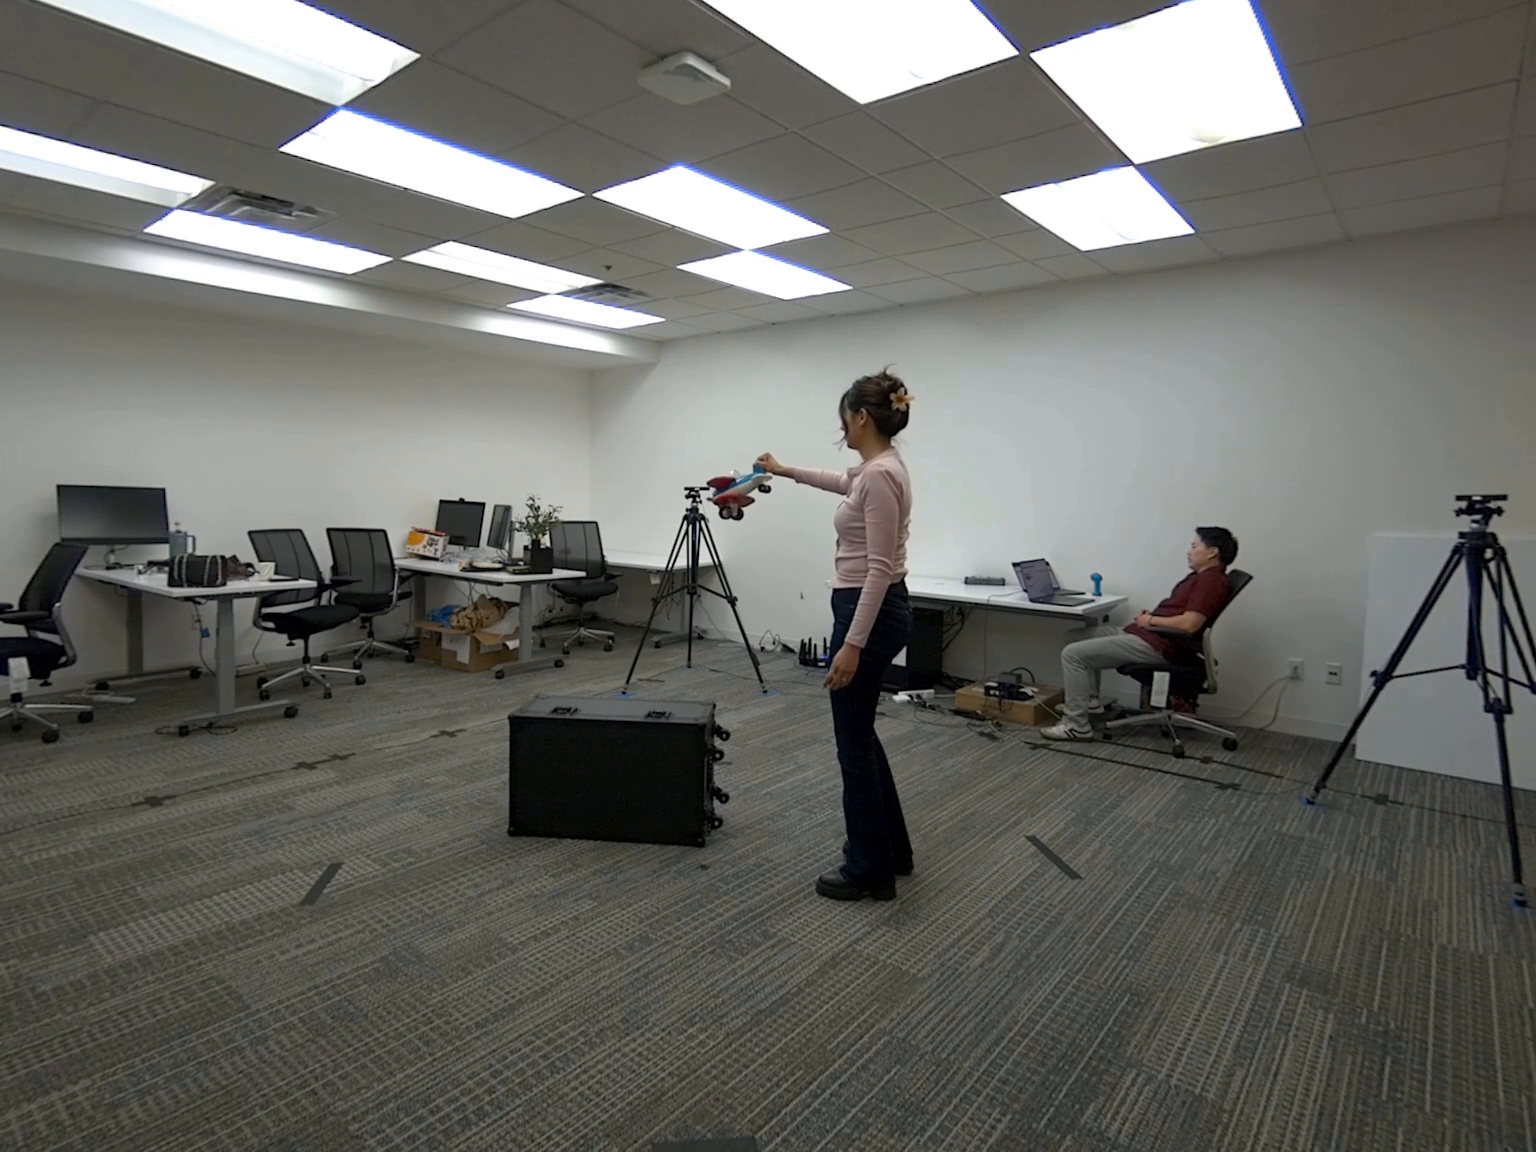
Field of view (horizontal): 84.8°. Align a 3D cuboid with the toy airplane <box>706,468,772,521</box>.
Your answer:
[{"bbox_3d":[-0.116,-0.342,3.397,0.259,0.160,0.245,-31,-16,-3],"label":"toy airplane"}]
